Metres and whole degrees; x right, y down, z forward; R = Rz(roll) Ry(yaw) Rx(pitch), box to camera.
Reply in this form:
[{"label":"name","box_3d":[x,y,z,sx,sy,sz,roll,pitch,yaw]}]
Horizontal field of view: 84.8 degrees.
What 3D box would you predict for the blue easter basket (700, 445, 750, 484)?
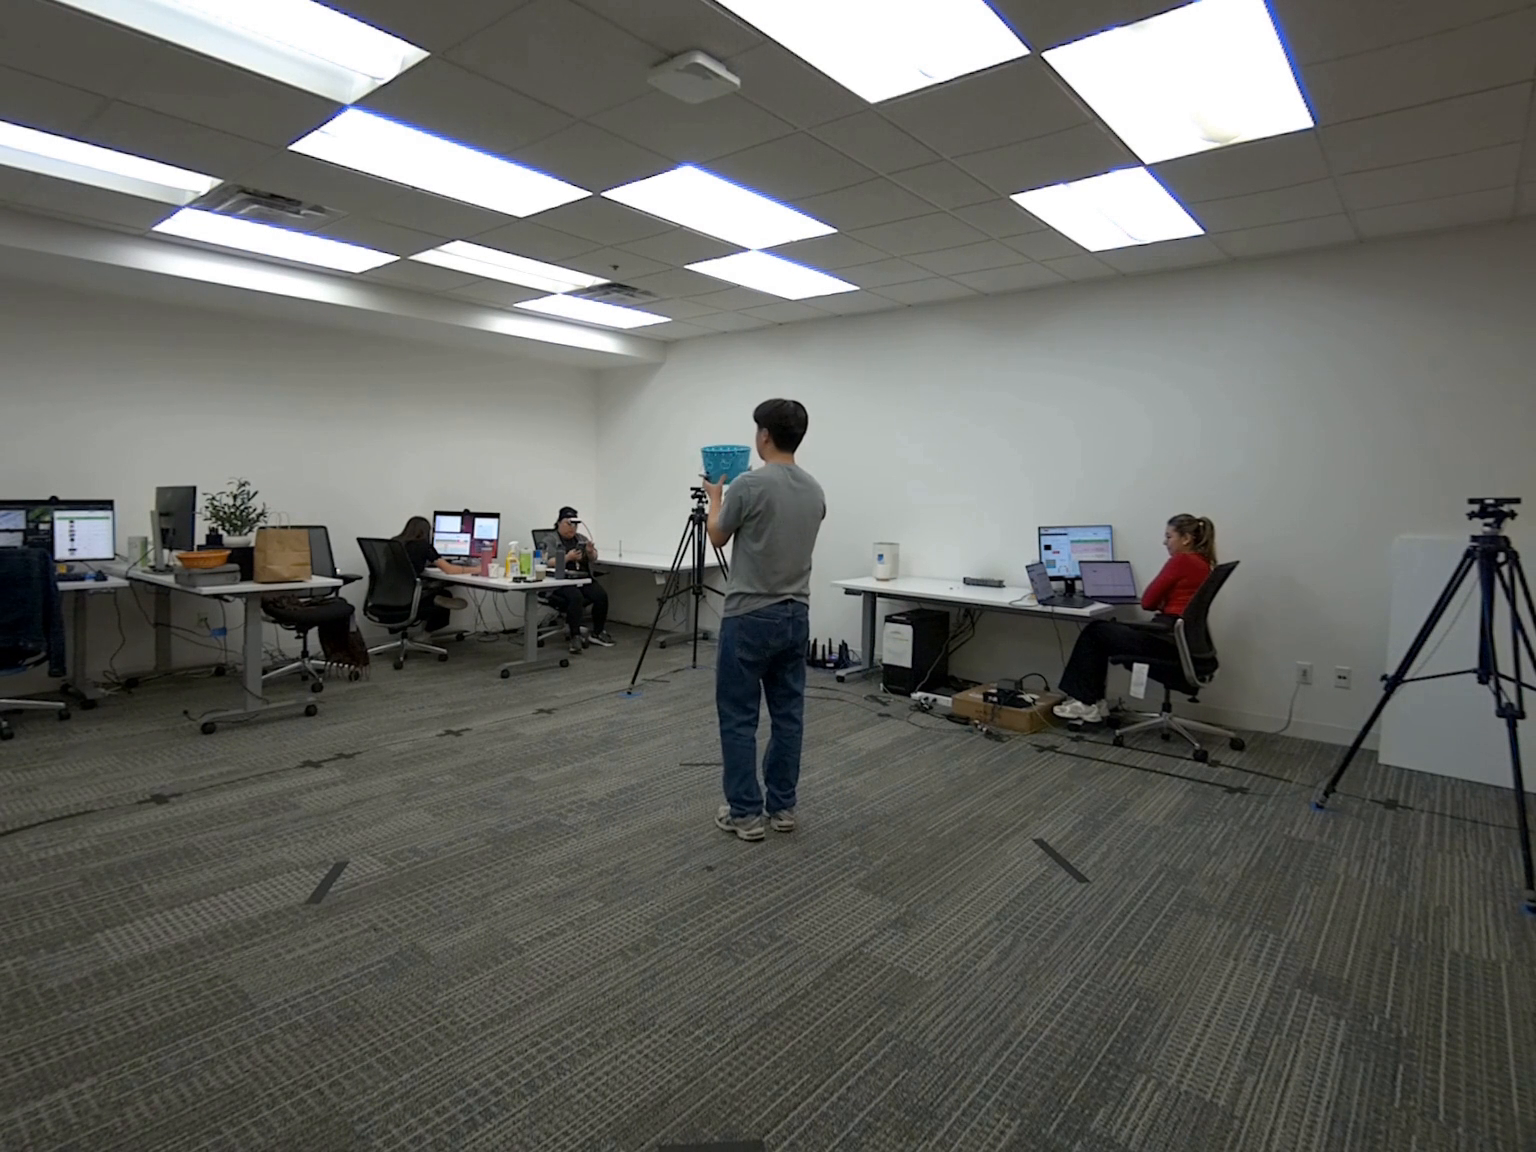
[{"label":"blue easter basket","box_3d":[-0.204,-0.500,3.804,0.243,0.154,0.246,0,11,-2]}]
